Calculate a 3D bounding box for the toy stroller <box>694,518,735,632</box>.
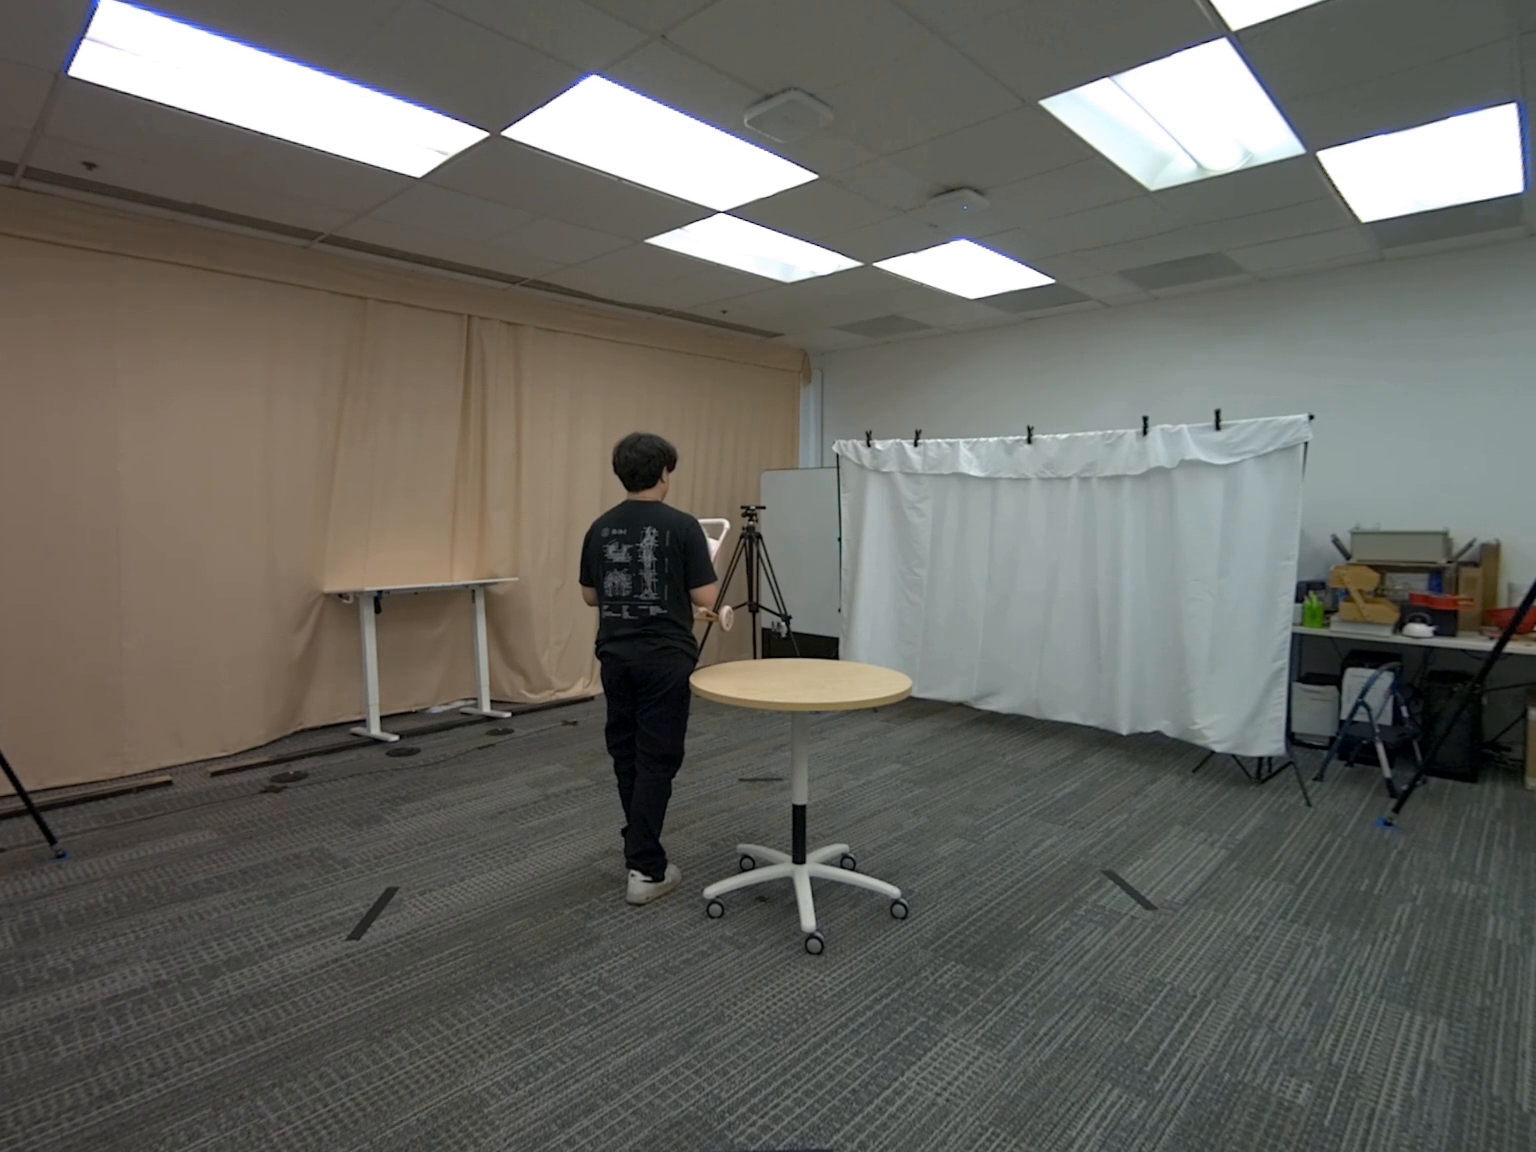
[{"bbox_3d":[-0.331,0.014,3.479,0.289,0.536,0.331,1,-4,30],"label":"toy stroller"}]
